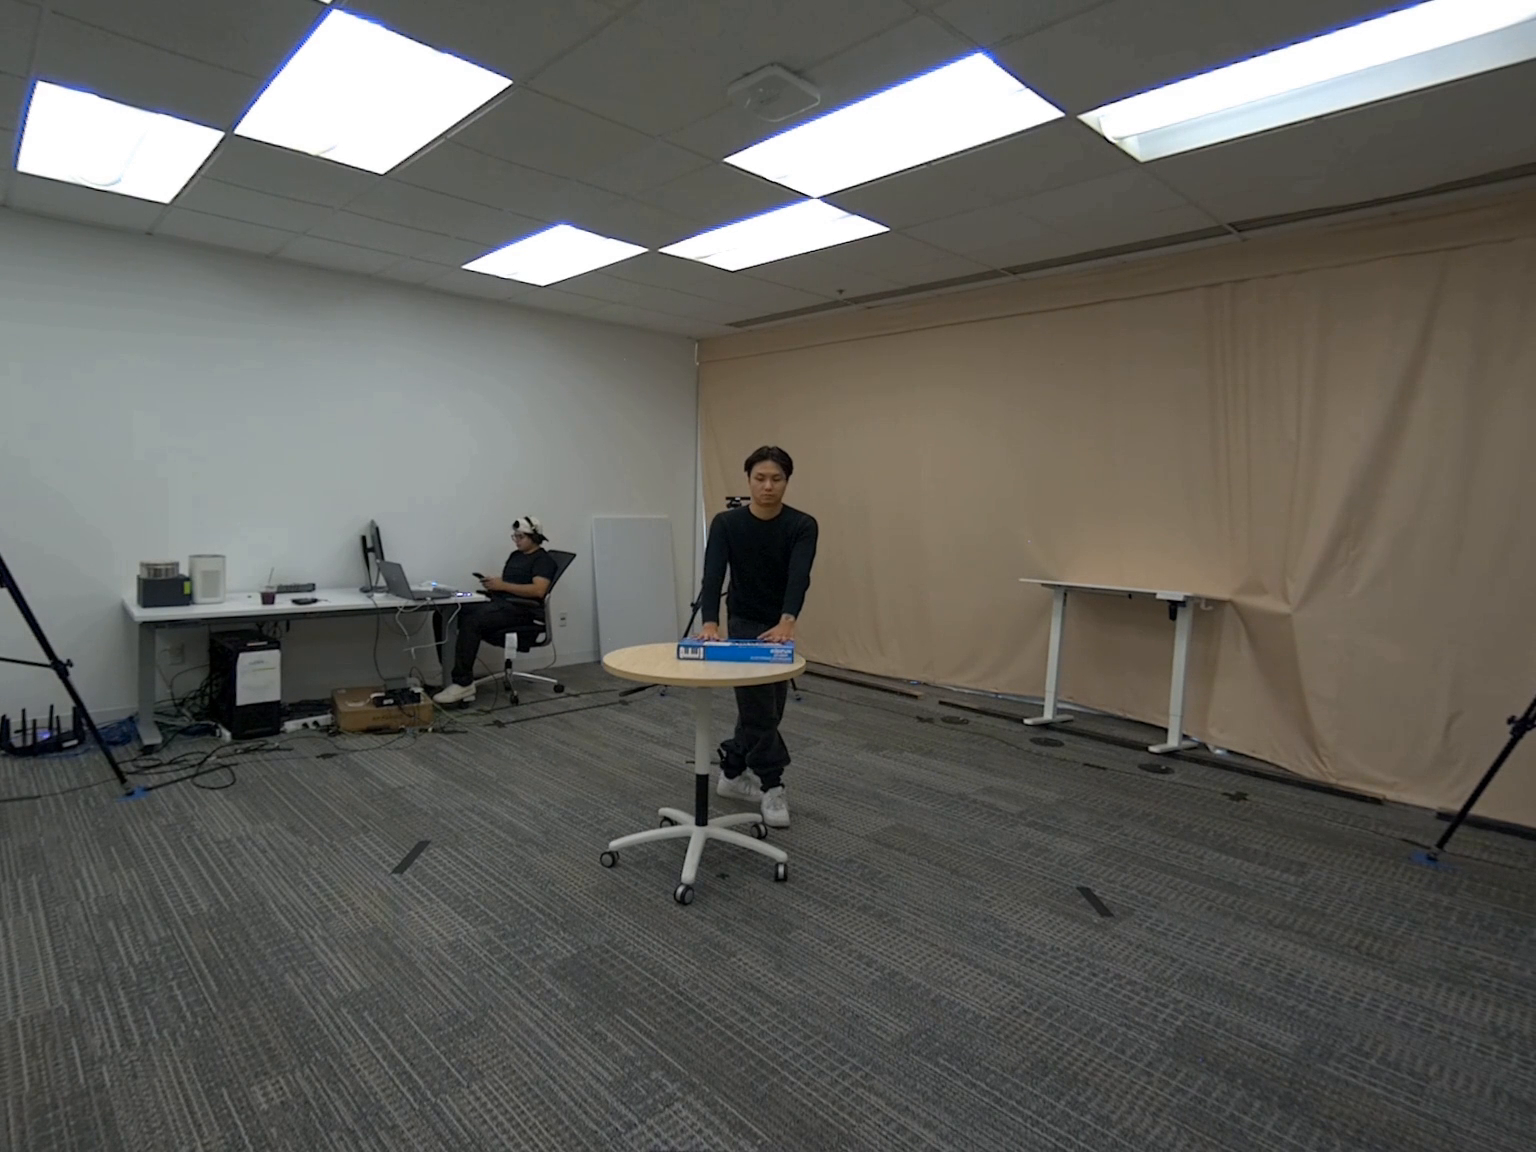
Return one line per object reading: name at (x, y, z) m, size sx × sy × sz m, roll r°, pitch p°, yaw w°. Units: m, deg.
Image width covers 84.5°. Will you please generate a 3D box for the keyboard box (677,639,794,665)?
keyboard box at (-0.131, 0.283, 3.226) m, size 0.439 × 0.059 × 0.175 m, roll 1°, pitch 4°, yaw 5°
